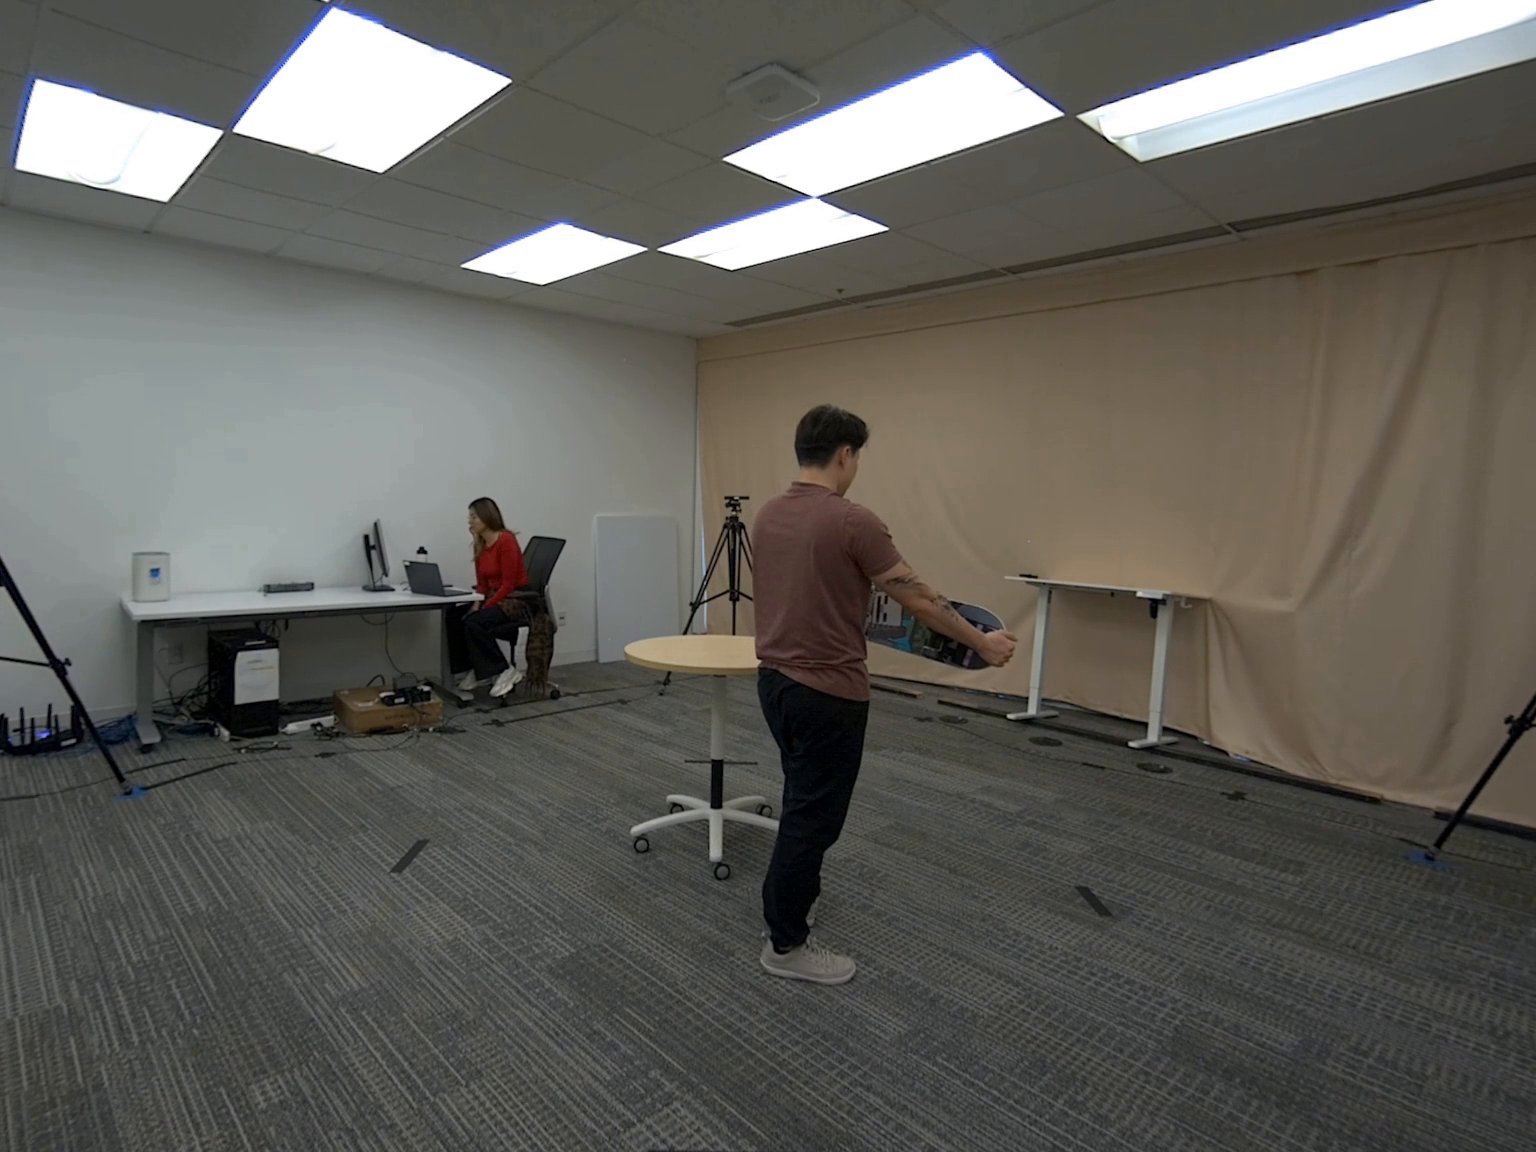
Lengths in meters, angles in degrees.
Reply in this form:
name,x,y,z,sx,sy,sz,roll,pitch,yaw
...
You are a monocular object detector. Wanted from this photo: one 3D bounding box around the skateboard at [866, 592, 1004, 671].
name,x,y,z,sx,sy,sz,roll,pitch,yaw
skateboard,0.404,0.138,2.719,0.107,0.193,0.807,14,0,-38
